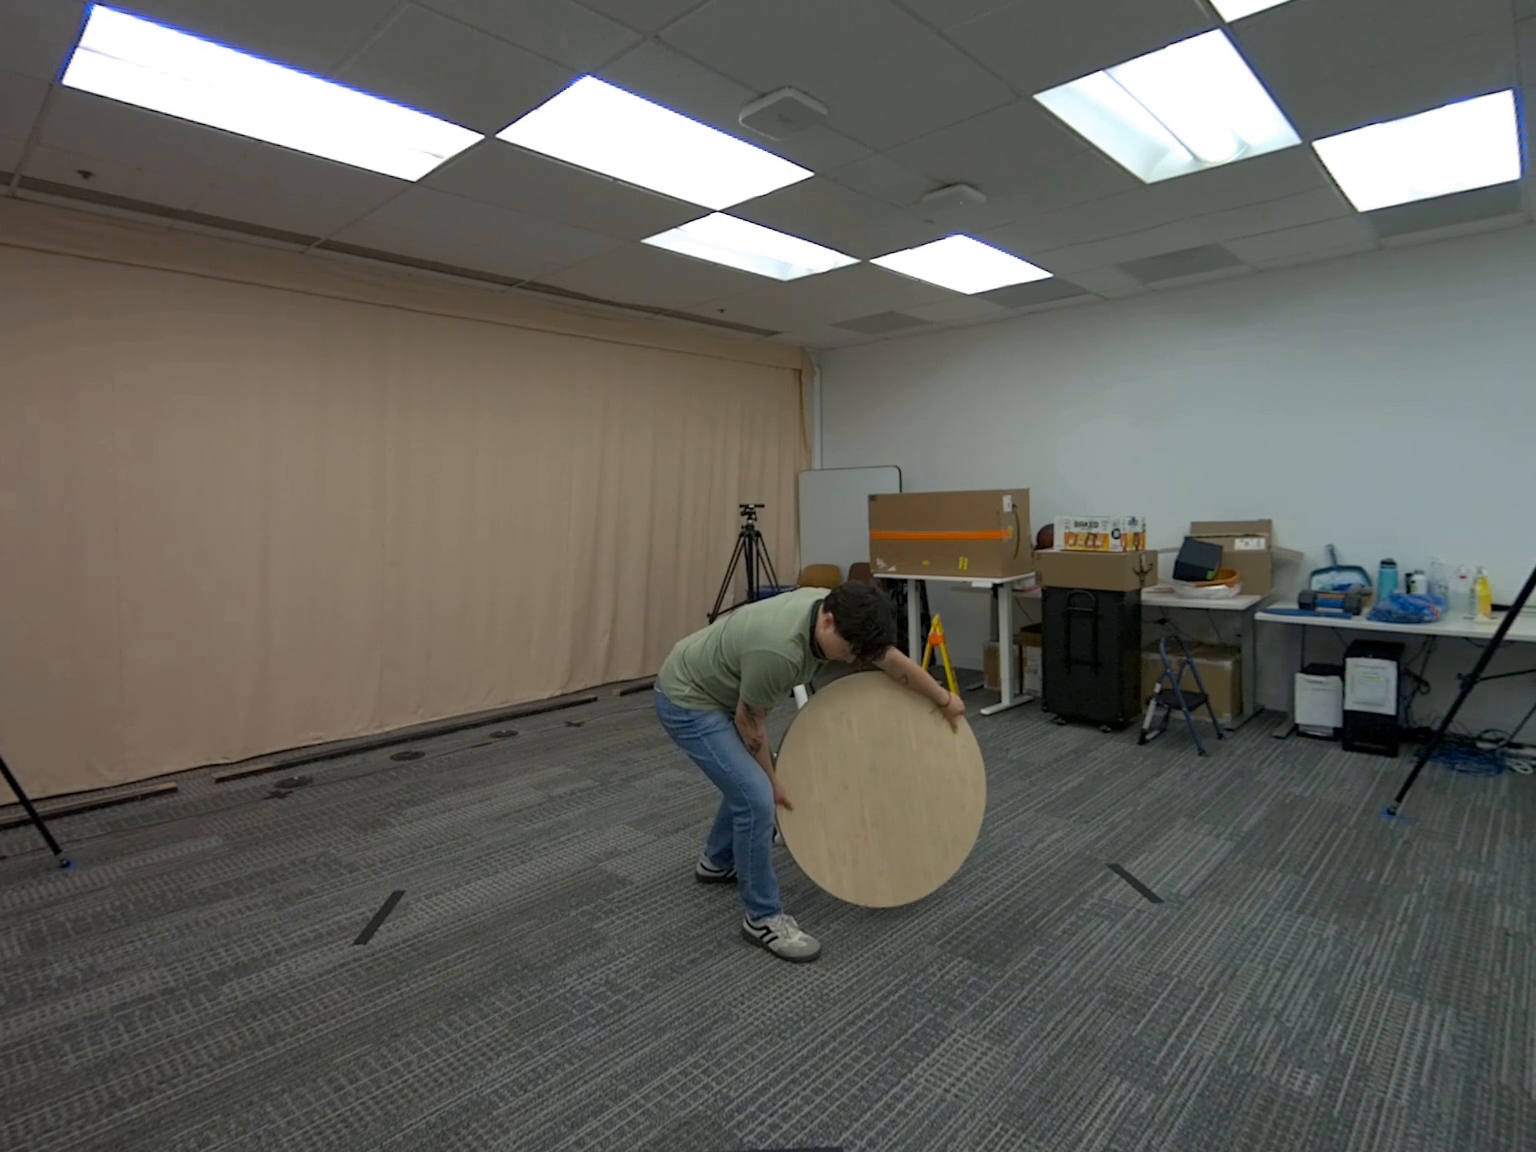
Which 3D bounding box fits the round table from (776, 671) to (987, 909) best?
[{"bbox_3d":[0.281,0.754,3.206,0.752,0.768,0.803,-2,-7,-16],"label":"round table"}]
